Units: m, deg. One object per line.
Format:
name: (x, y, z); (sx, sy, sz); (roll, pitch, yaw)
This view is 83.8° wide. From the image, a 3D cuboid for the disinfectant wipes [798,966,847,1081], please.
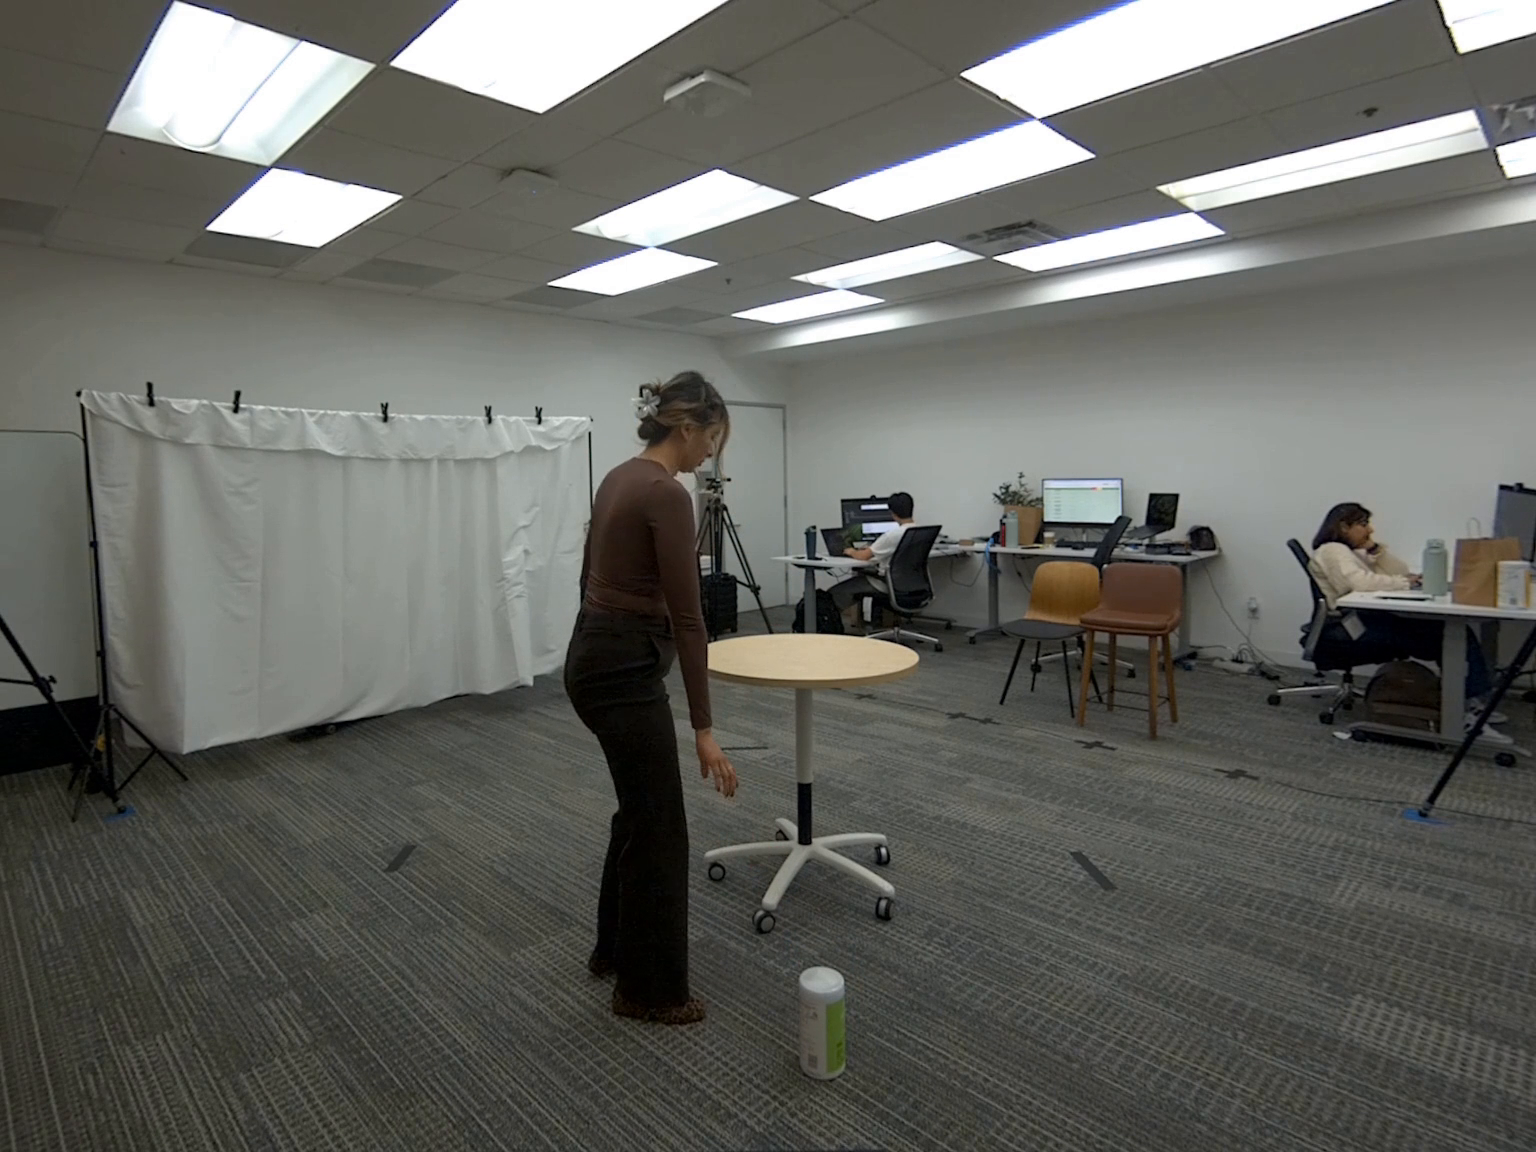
disinfectant wipes: (0.131, 1.053, 2.029); (0.118, 0.216, 0.118); (1, 5, -2)
